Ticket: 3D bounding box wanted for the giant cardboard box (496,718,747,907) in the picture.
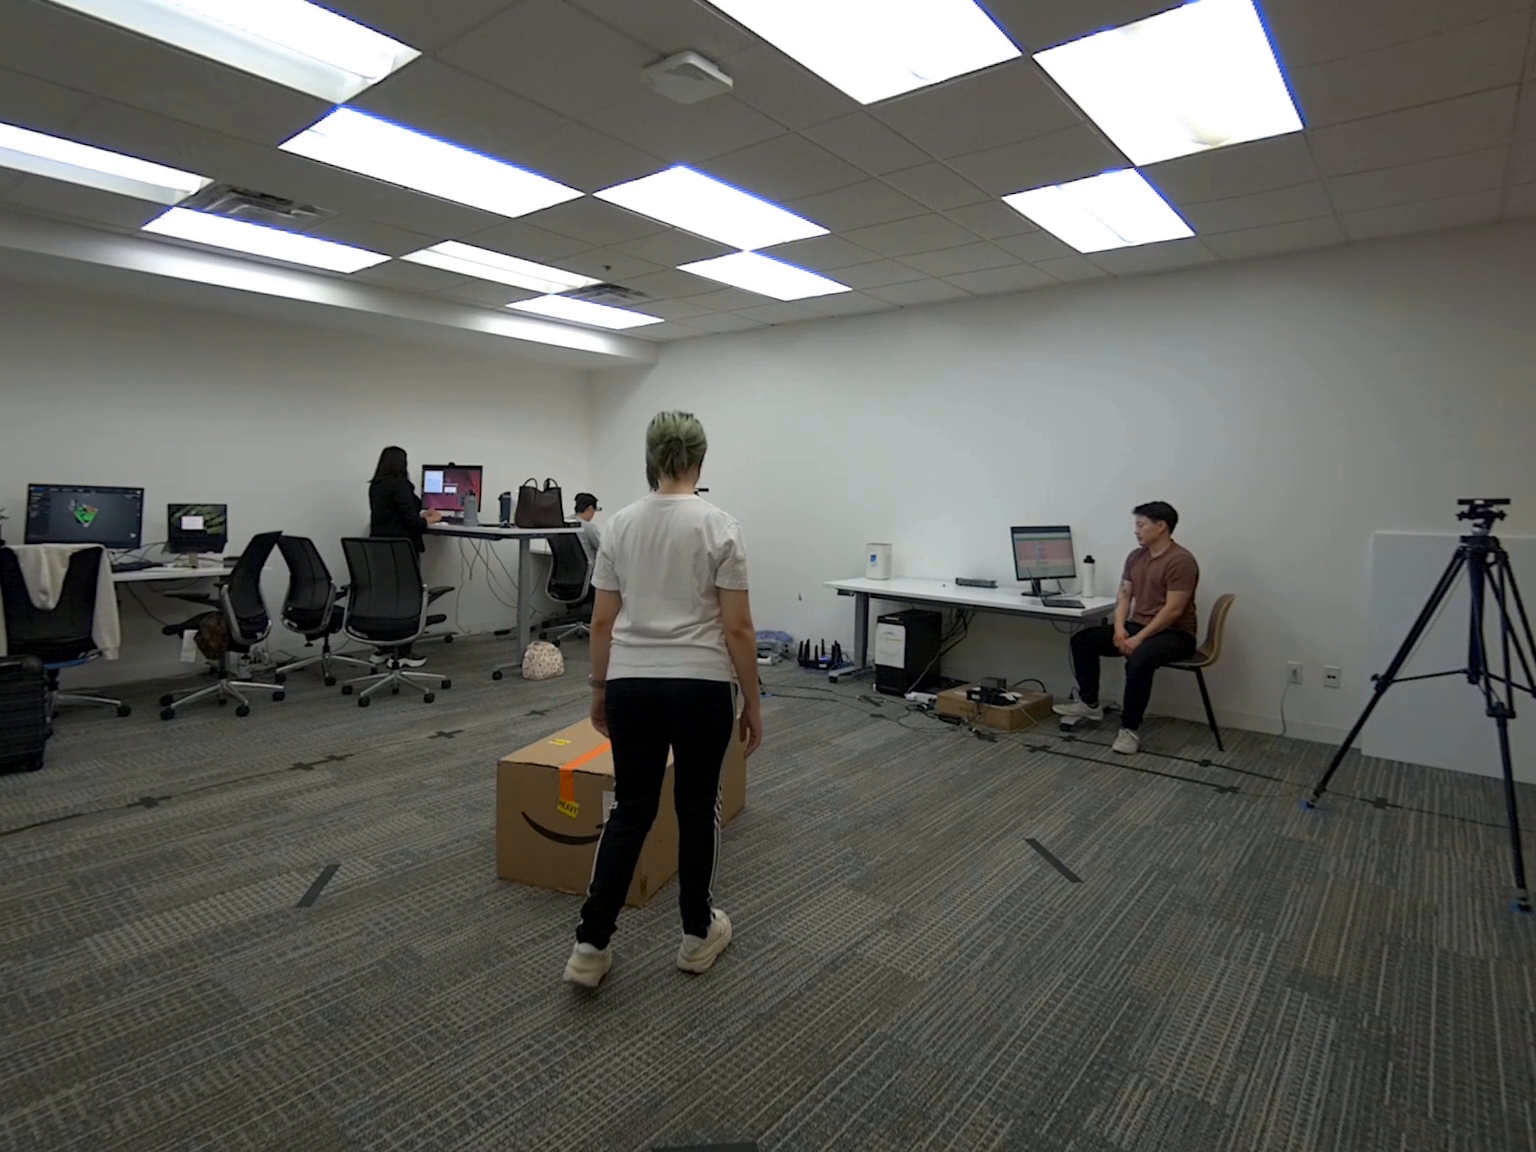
[{"bbox_3d":[-0.536,0.823,3.361,0.590,0.425,1.008,2,5,19],"label":"giant cardboard box"}]
